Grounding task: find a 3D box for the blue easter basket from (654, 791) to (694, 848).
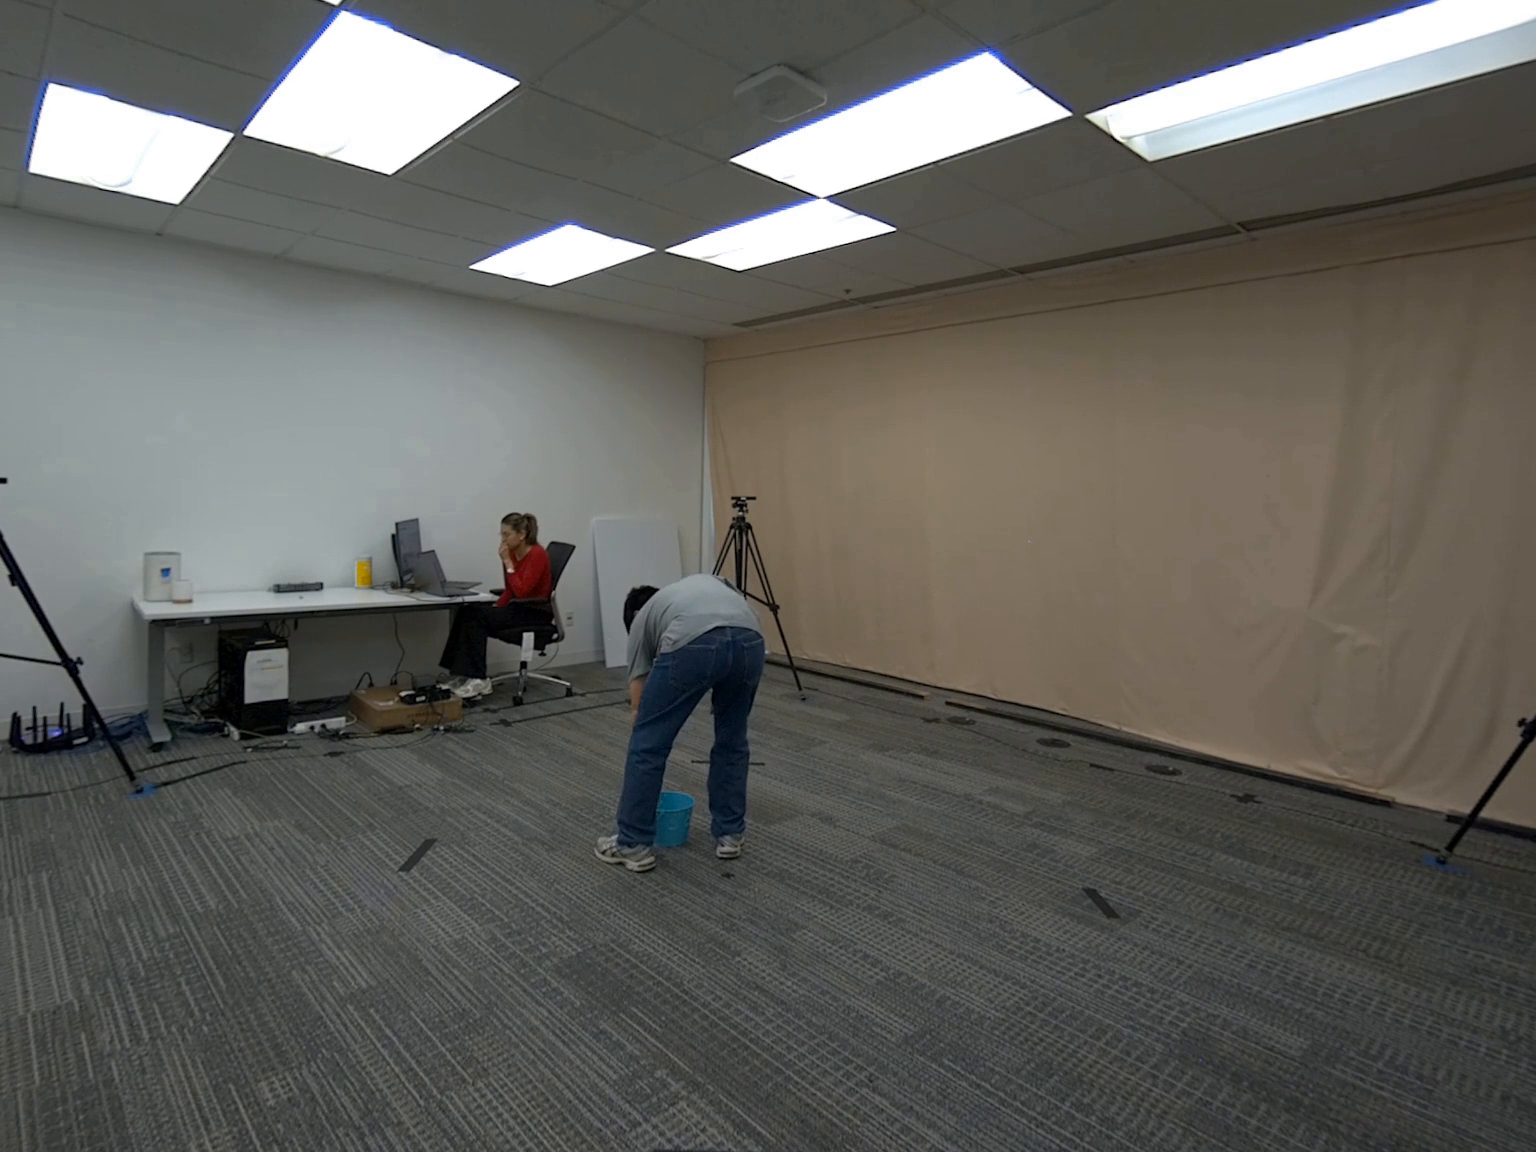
[{"bbox_3d":[-0.428,0.992,3.442,0.243,0.155,0.244,2,5,-1],"label":"blue easter basket"}]
